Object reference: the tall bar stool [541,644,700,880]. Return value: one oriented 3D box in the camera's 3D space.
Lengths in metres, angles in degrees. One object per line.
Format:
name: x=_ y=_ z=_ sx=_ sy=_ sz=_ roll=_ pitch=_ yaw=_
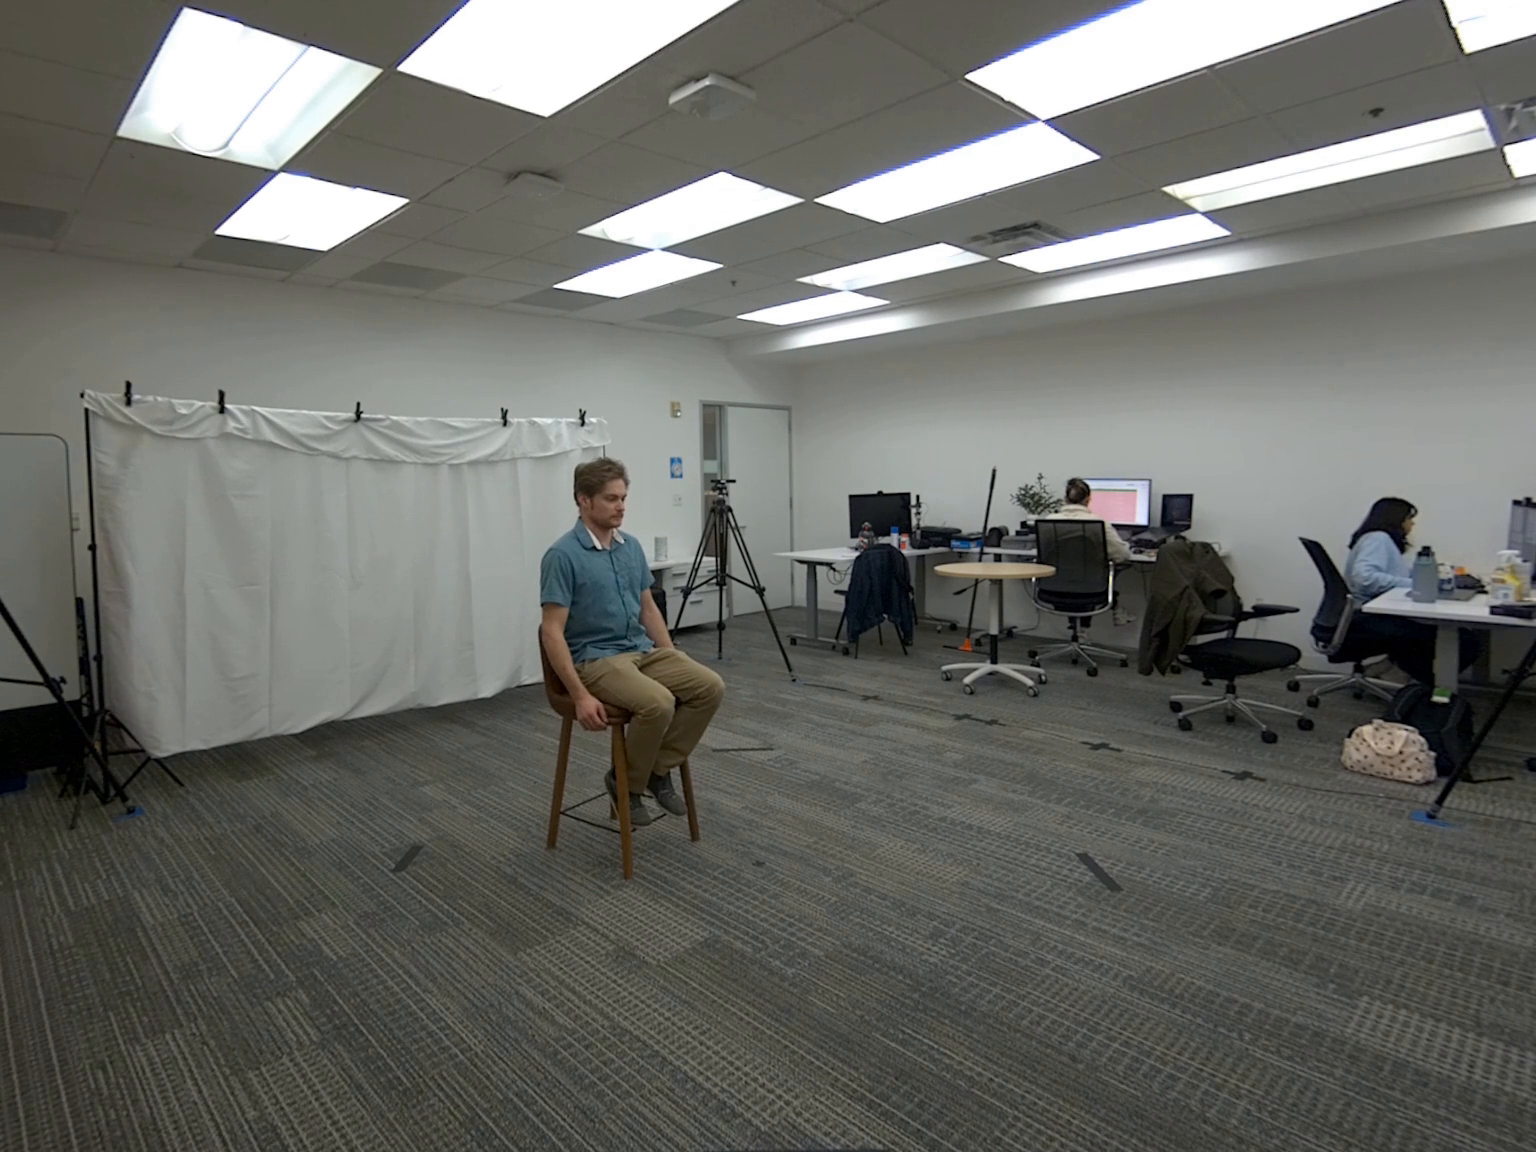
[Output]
tall bar stool: x=-0.574 y=0.604 z=3.283 sx=0.480 sy=0.888 sz=0.445 roll=-1 pitch=2 yaw=36
